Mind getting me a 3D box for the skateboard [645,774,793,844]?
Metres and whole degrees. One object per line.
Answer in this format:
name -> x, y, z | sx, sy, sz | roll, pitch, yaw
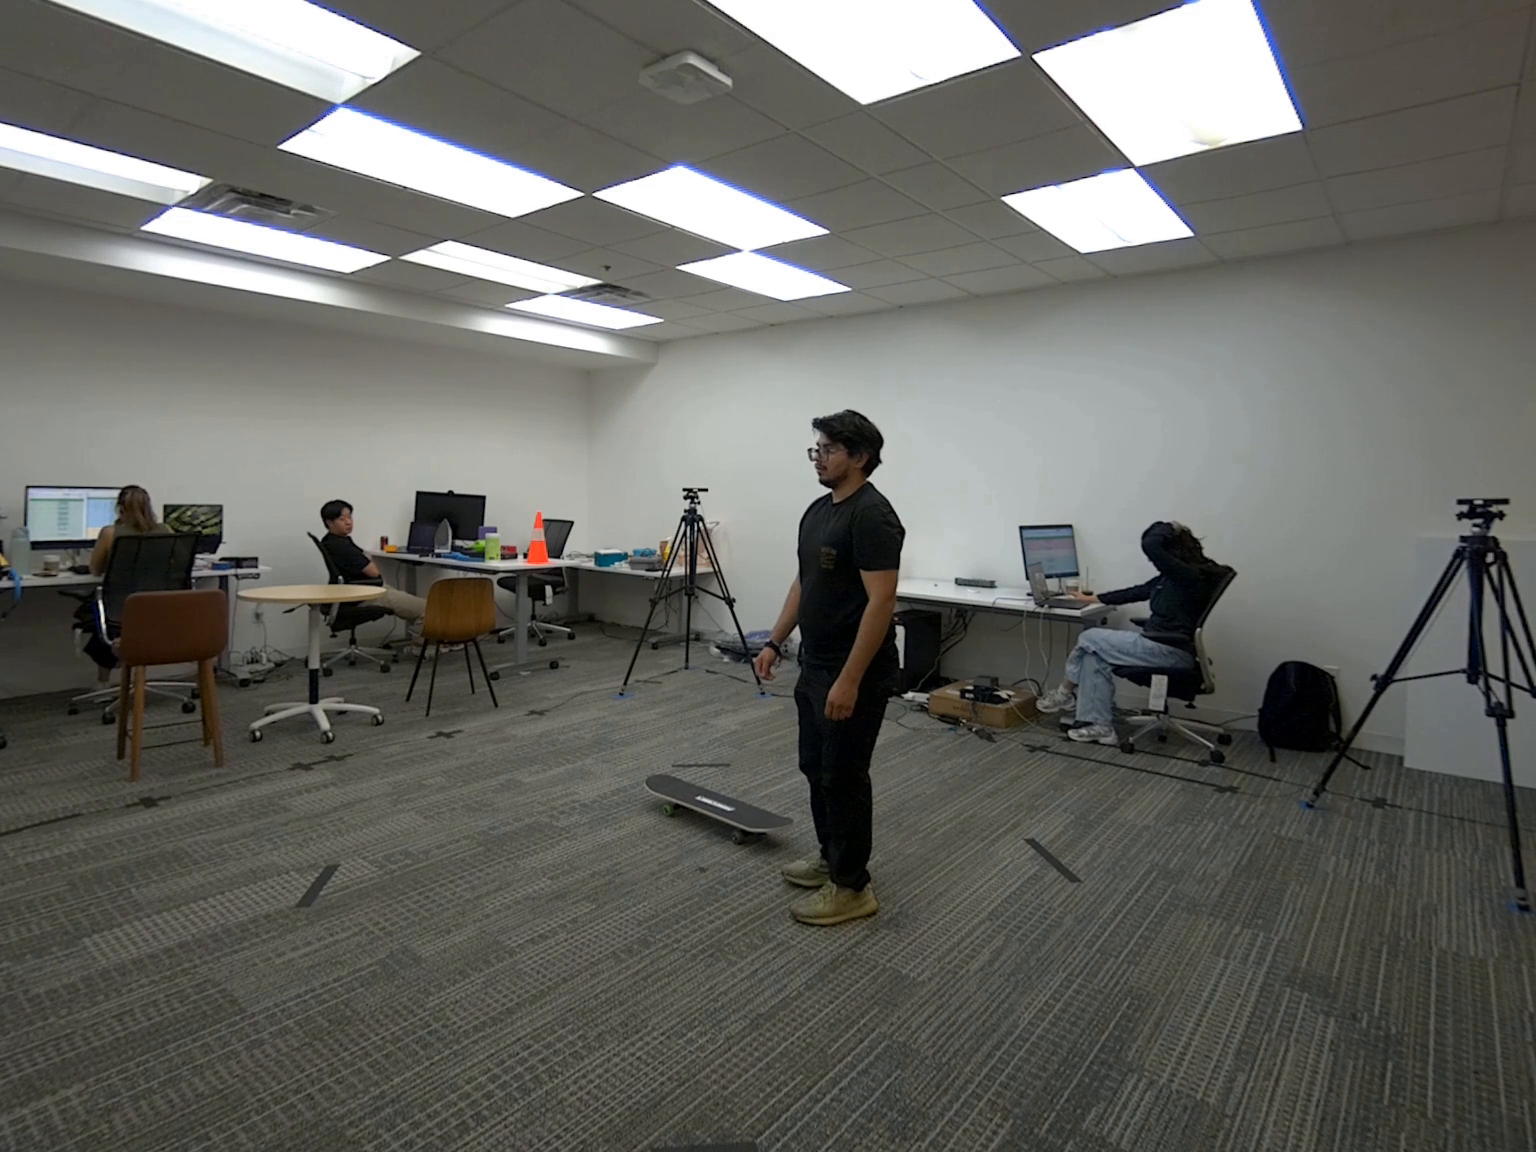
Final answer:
skateboard -> -0.231, 0.974, 3.533 | 0.812, 0.110, 0.188 | 6, 7, 41
